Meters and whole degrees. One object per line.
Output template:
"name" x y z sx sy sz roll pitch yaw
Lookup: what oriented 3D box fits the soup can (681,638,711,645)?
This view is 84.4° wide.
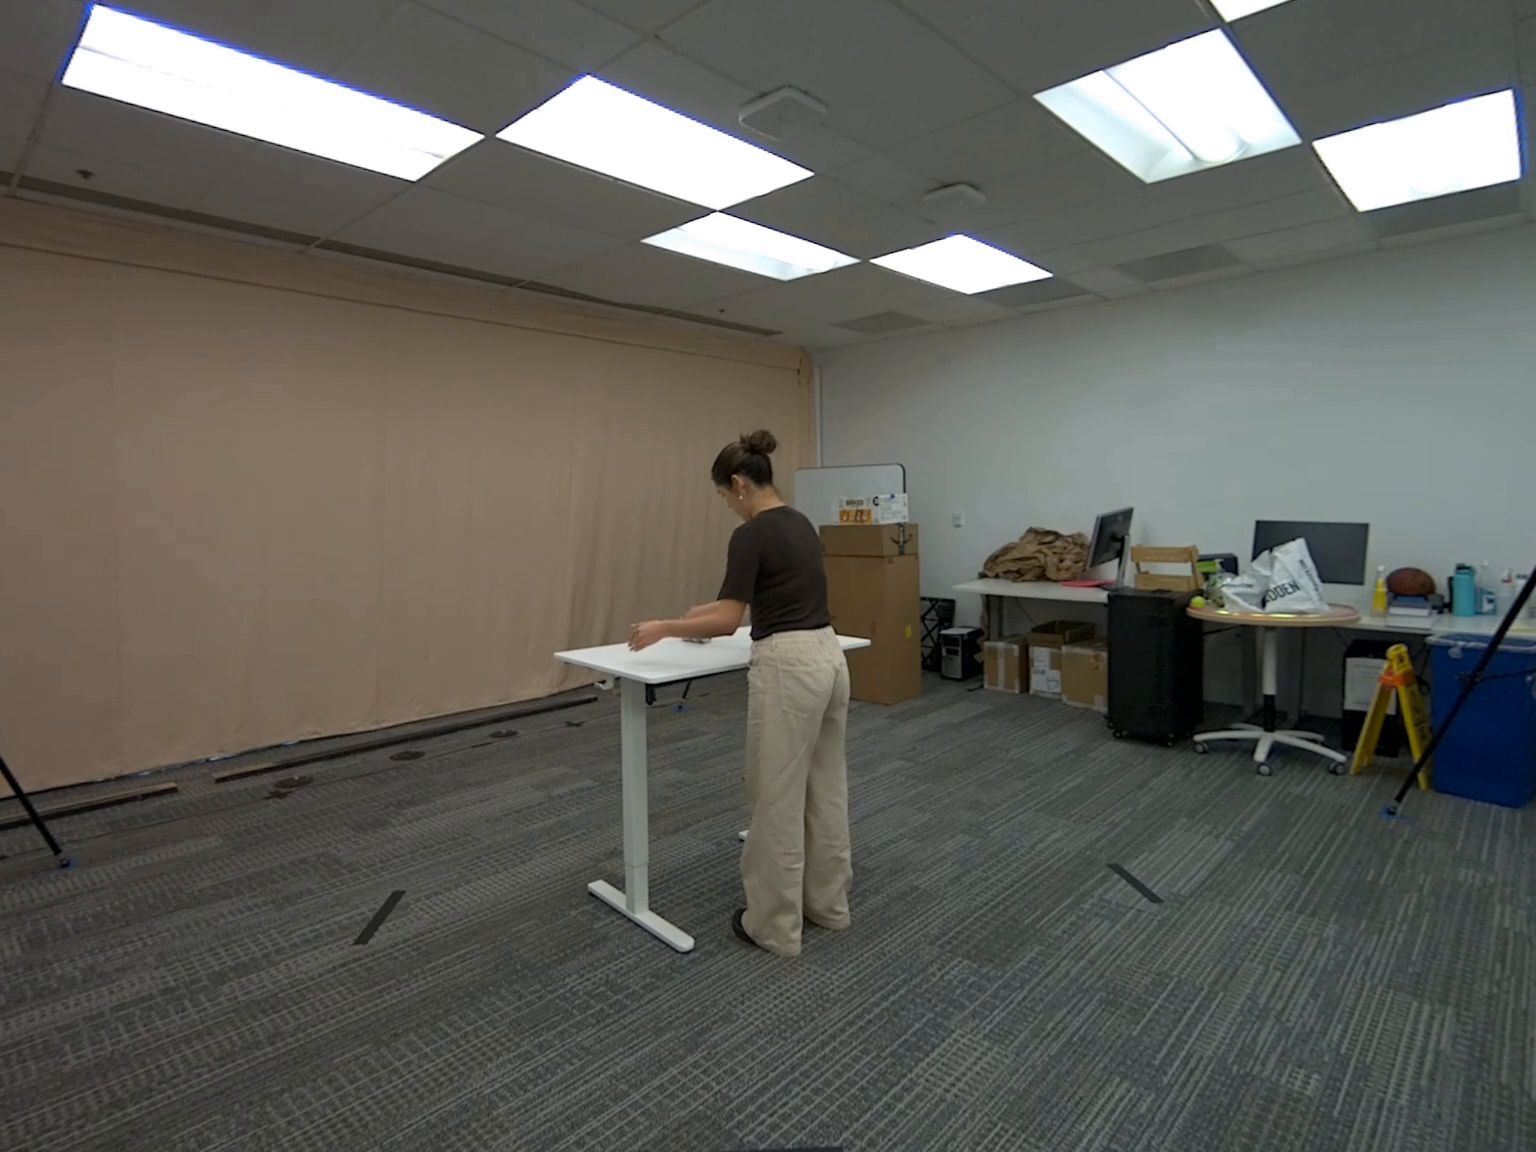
"soup can" -0.267 0.212 3.150 0.125 0.067 0.065 4 6 42
